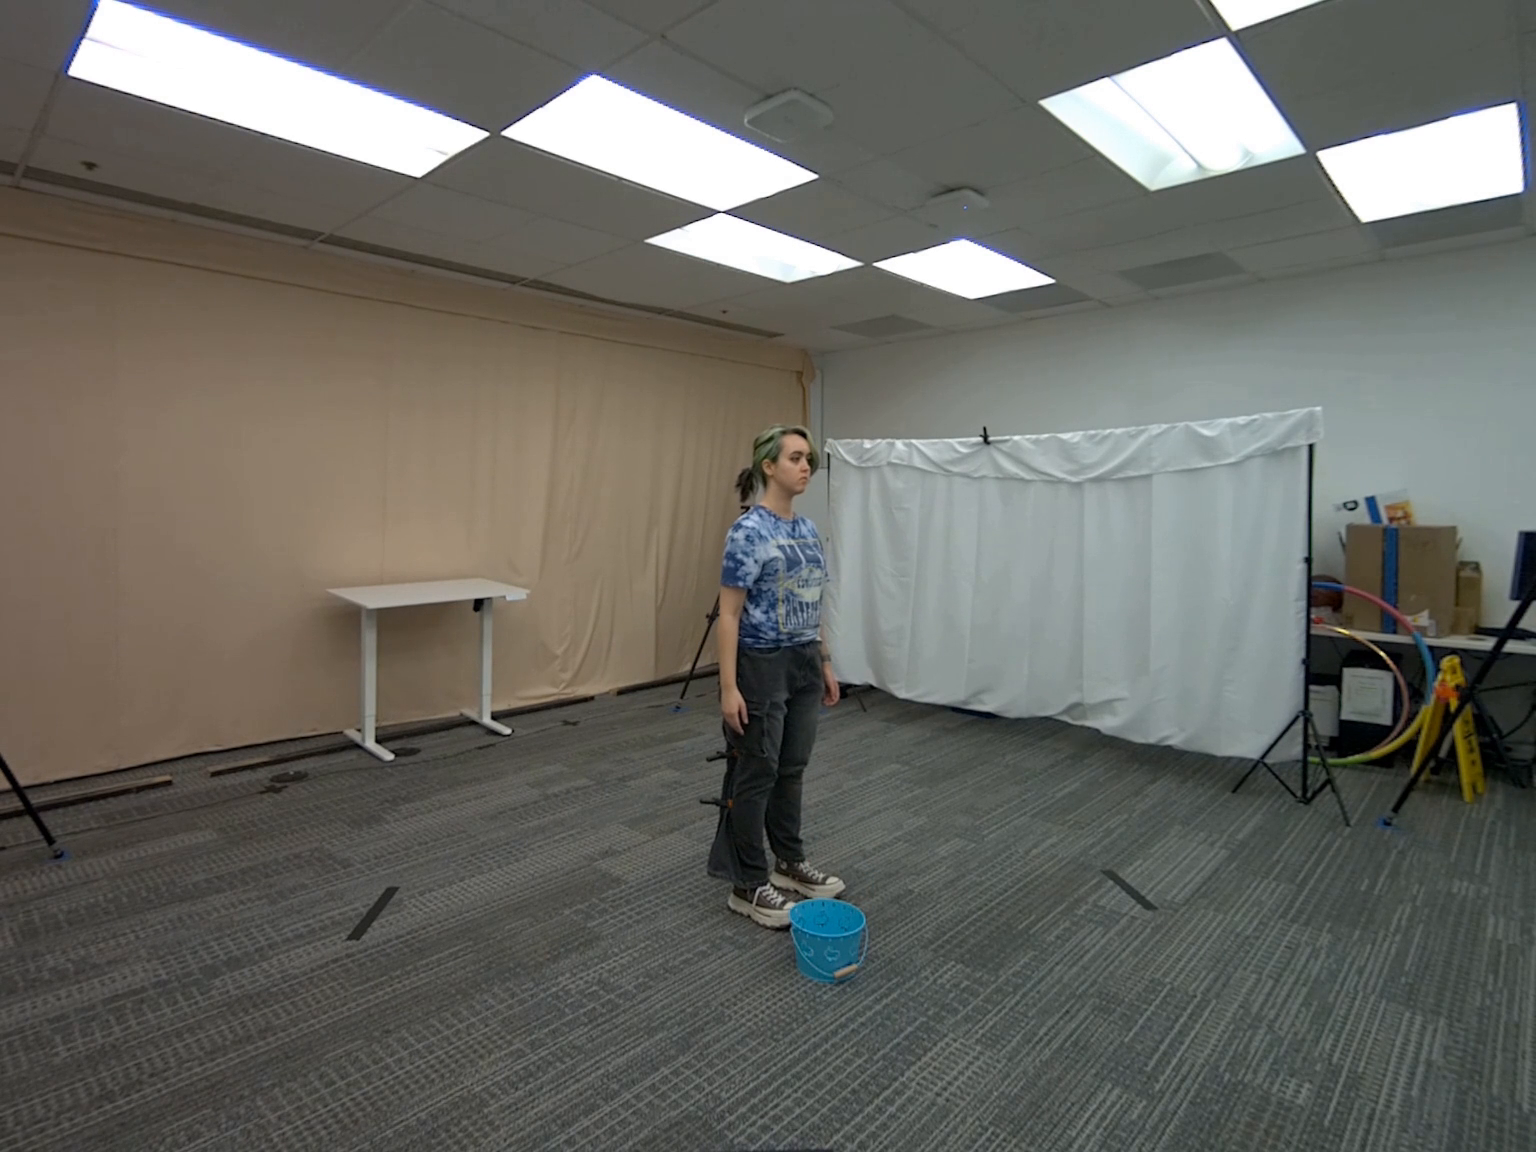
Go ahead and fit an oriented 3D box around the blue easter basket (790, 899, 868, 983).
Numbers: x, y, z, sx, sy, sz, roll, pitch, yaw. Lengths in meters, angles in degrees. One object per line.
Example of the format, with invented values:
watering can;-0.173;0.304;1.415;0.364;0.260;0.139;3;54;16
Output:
blue easter basket;0.179;1.102;2.538;0.243;0.155;0.244;0;4;-2
